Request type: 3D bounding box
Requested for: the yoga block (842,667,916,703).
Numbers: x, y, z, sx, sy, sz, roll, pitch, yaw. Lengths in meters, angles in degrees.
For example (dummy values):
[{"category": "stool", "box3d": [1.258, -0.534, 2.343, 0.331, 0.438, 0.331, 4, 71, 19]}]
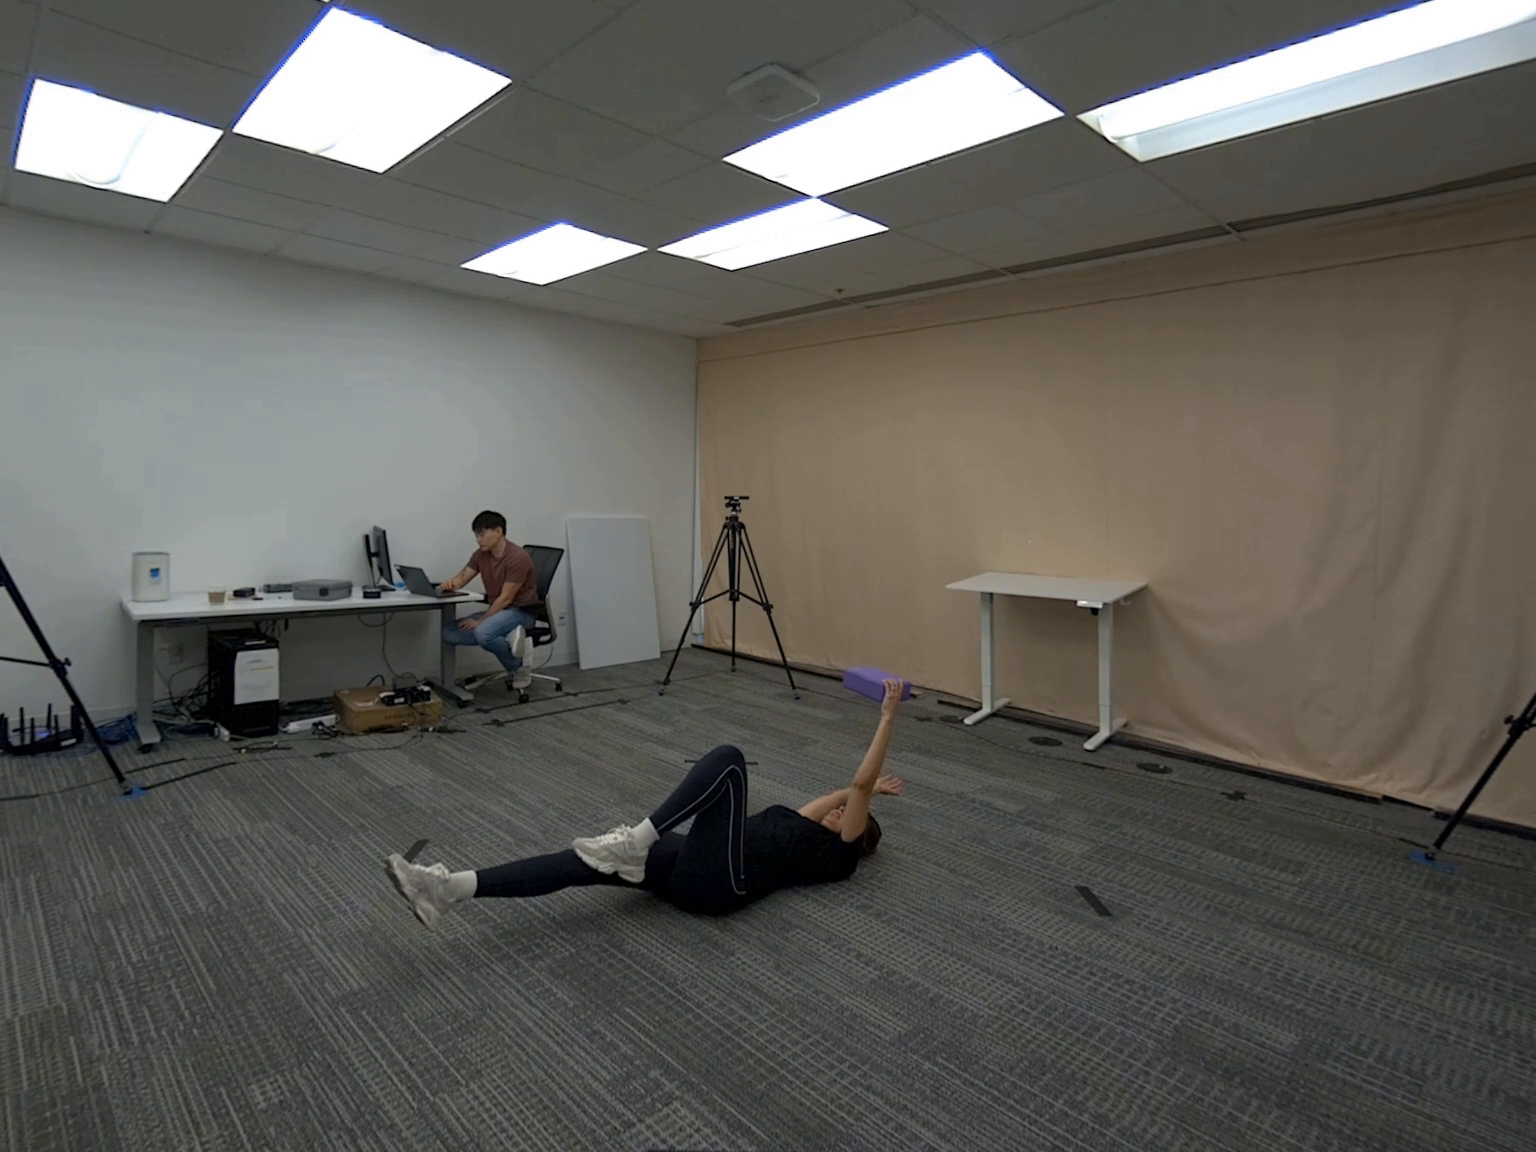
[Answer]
[{"category": "yoga block", "box3d": [0.427, 0.421, 3.235, 0.146, 0.076, 0.235, 2, 8, -31]}]
